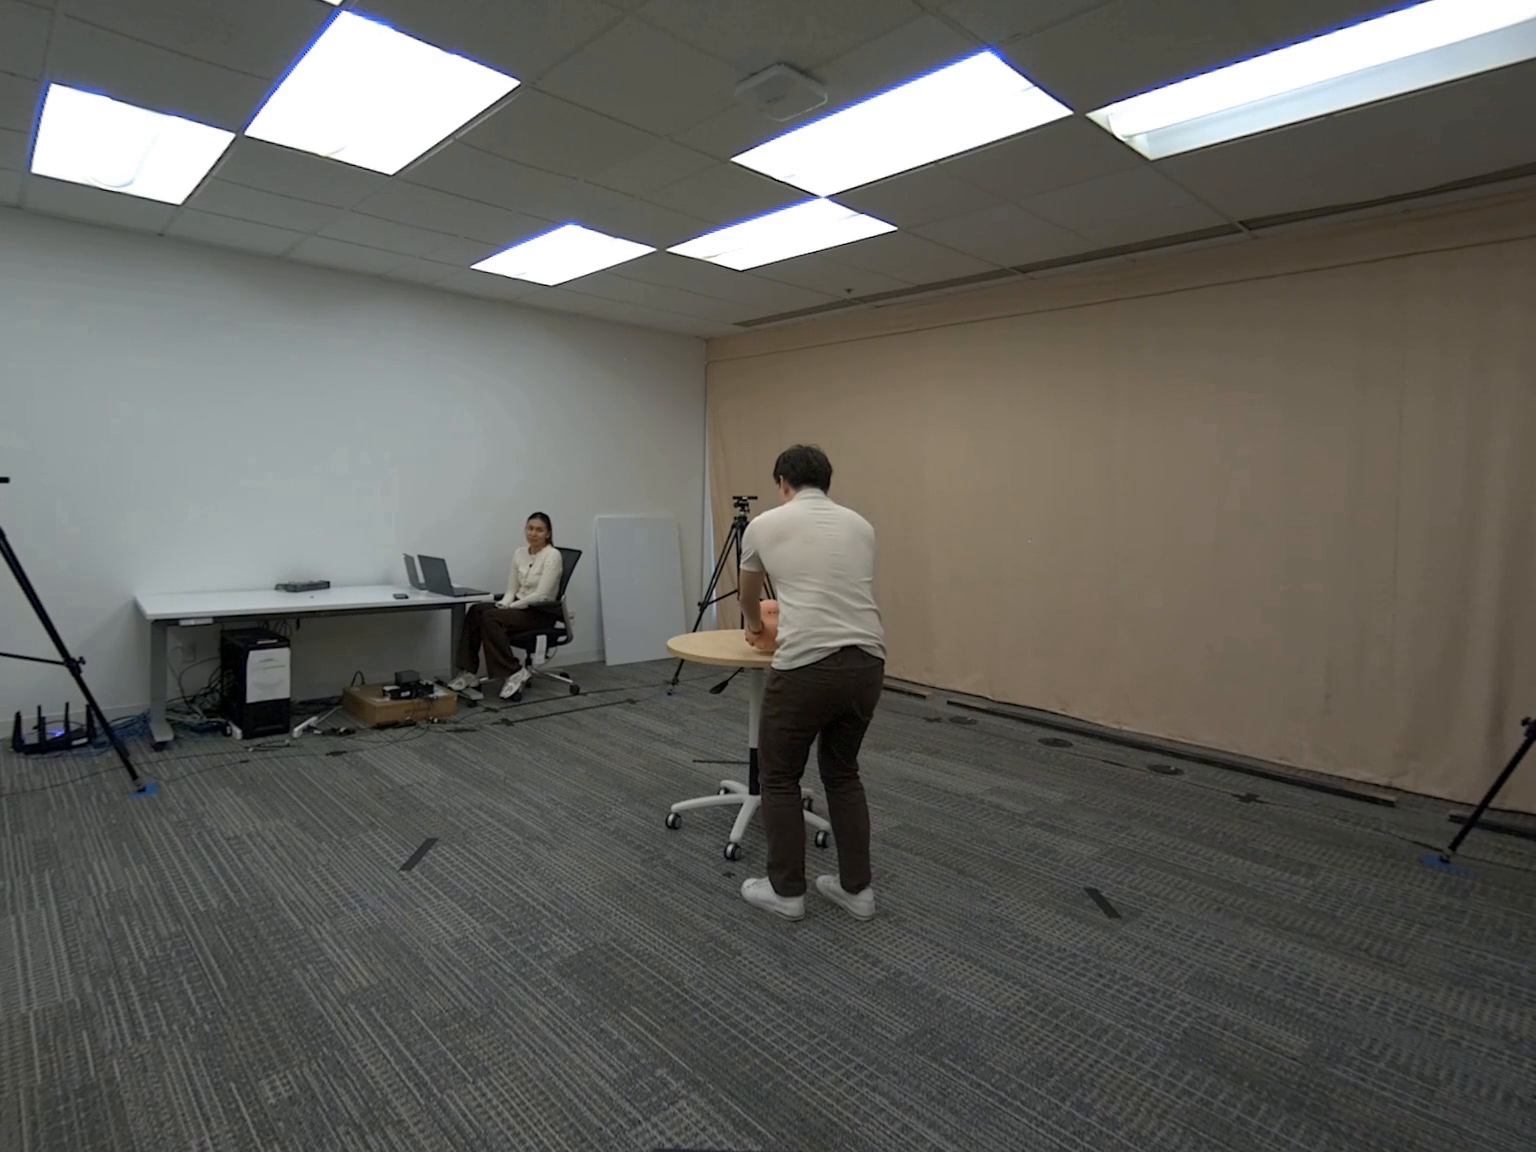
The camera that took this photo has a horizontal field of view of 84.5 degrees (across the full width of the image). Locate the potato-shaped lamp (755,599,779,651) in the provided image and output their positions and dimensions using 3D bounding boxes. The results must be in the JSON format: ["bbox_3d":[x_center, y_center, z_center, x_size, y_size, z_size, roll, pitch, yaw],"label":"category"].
[{"bbox_3d":[0.001,0.188,3.336,0.163,0.199,0.172,4,-8,-11],"label":"potato-shaped lamp"}]
